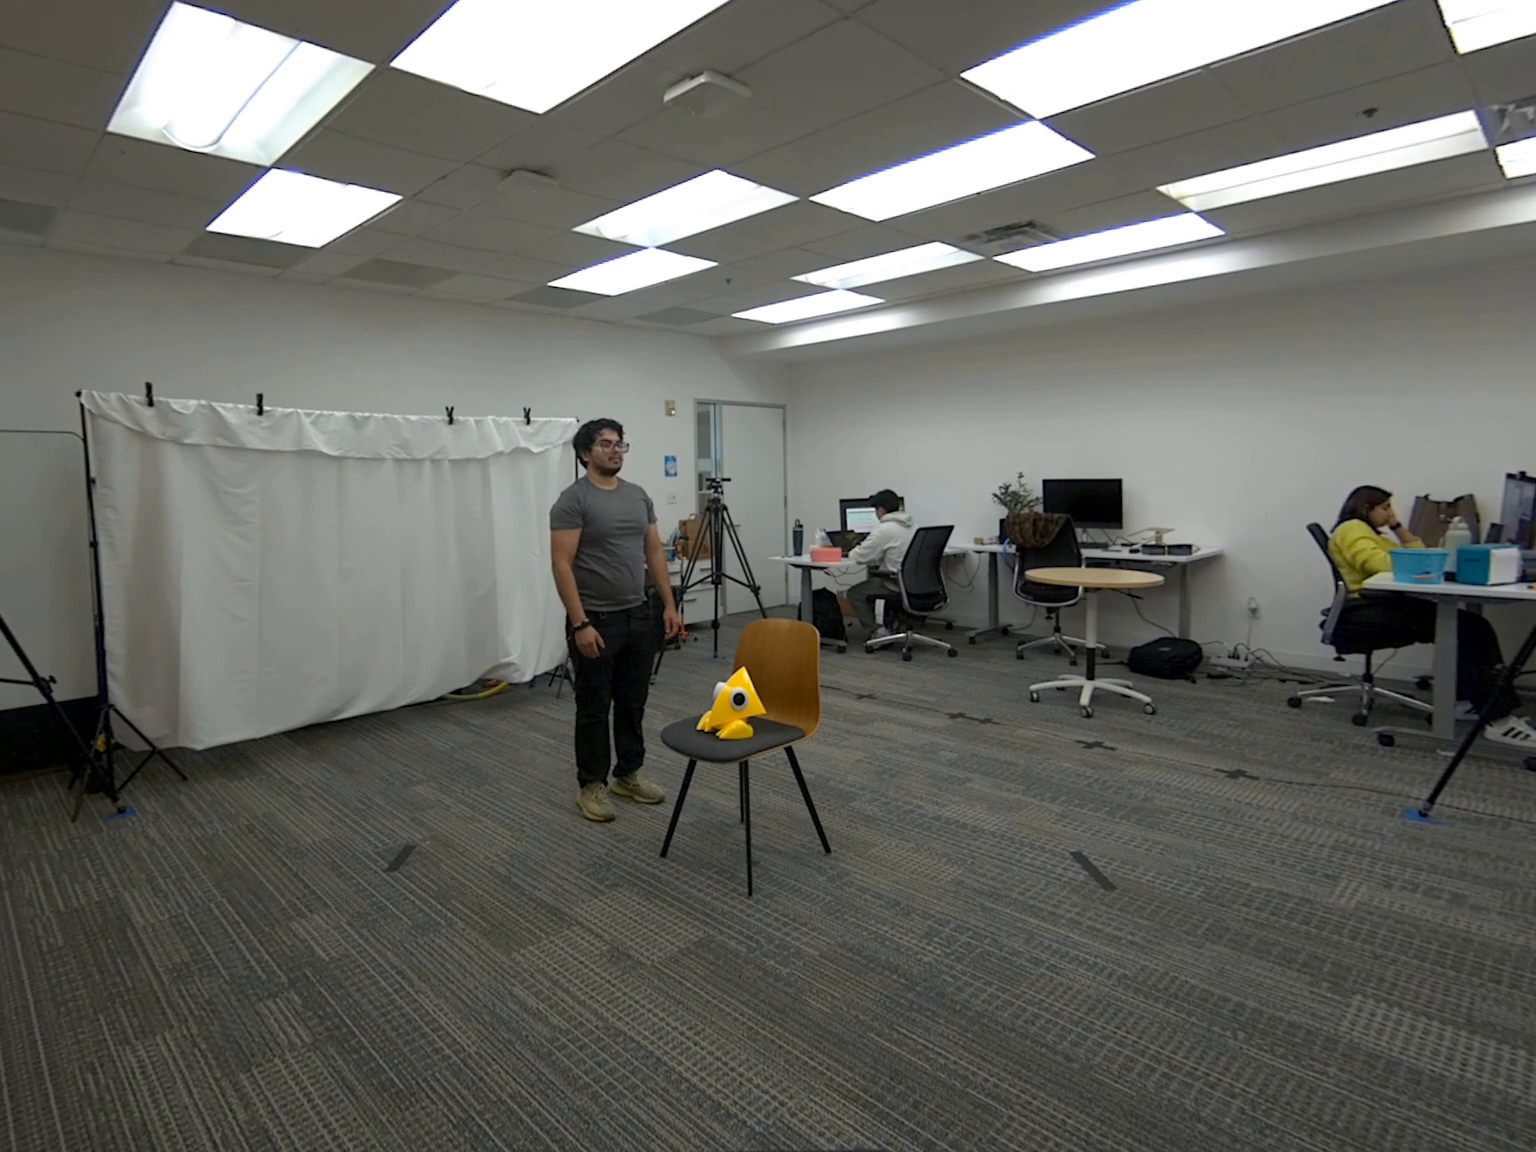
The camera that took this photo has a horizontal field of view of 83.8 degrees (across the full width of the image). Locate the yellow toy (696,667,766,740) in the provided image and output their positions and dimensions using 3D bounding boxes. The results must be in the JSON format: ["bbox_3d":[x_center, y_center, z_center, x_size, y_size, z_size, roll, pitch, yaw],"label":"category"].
[{"bbox_3d":[-0.139,0.451,3.106,0.187,0.230,0.211,1,5,-42],"label":"yellow toy"}]
